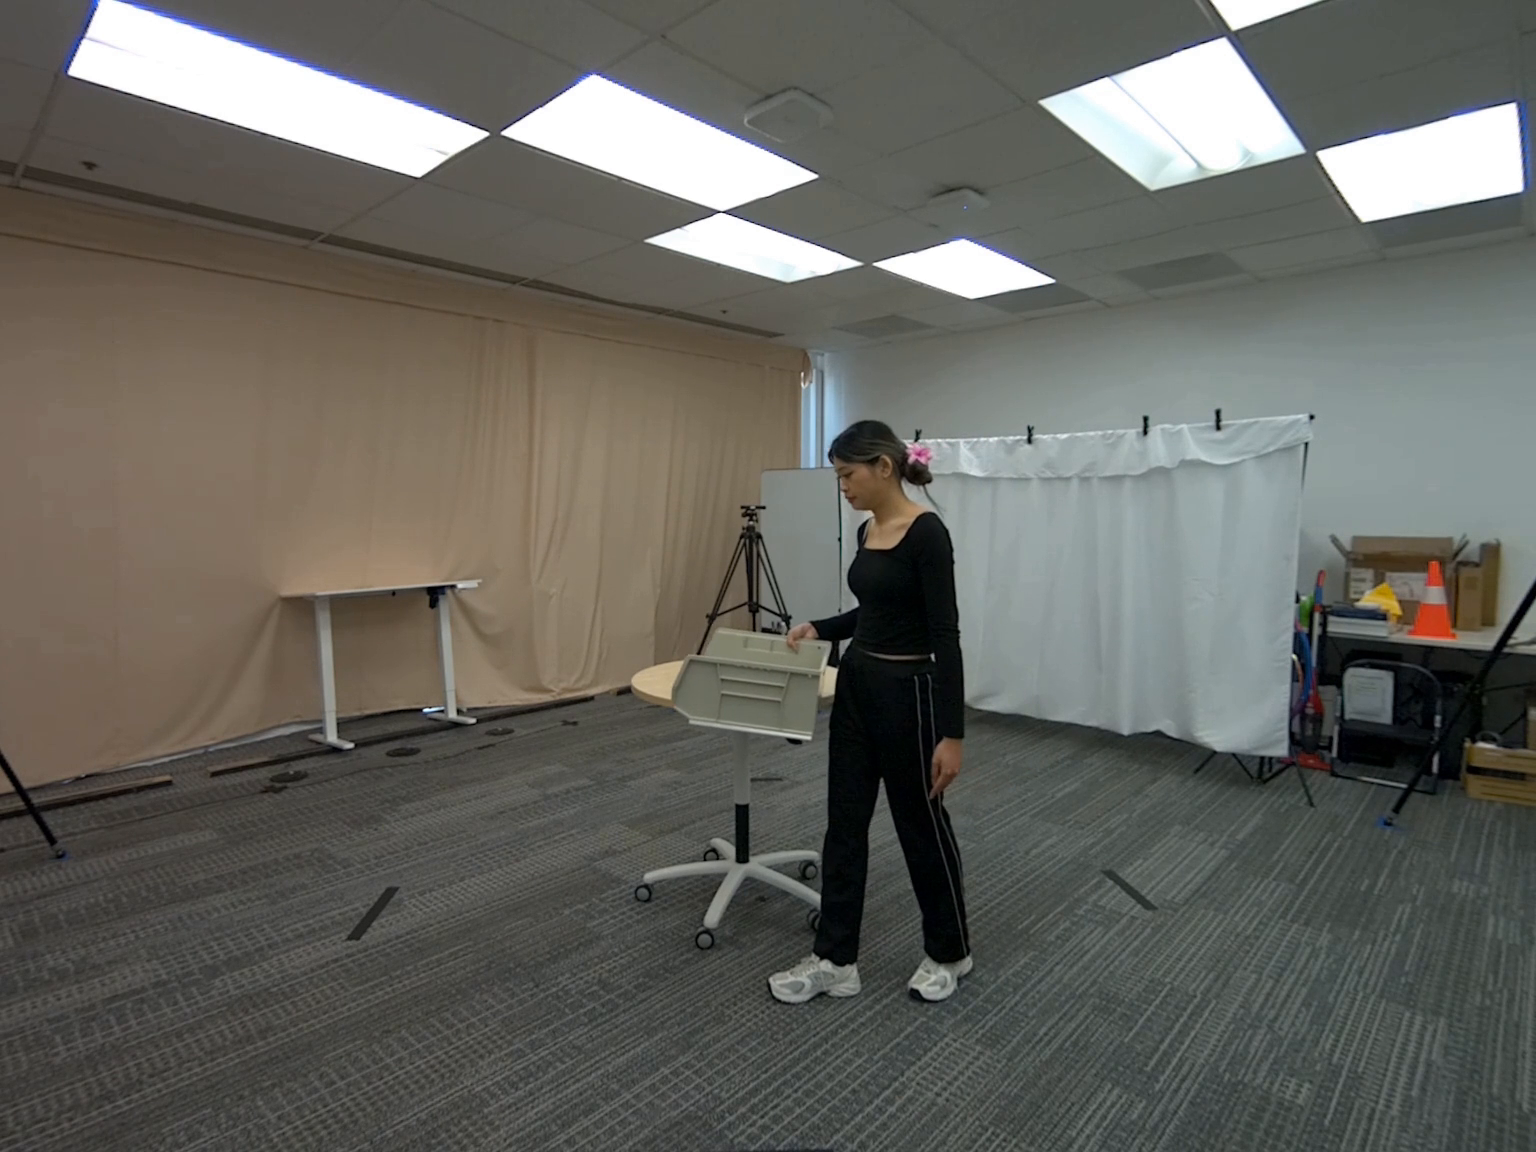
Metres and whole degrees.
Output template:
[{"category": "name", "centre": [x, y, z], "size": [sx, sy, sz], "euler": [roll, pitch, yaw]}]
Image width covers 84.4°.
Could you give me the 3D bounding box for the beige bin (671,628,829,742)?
[{"category": "beige bin", "centre": [-0.031, 0.288, 2.302], "size": [0.381, 0.188, 0.419], "euler": [6, 5, 8]}]
